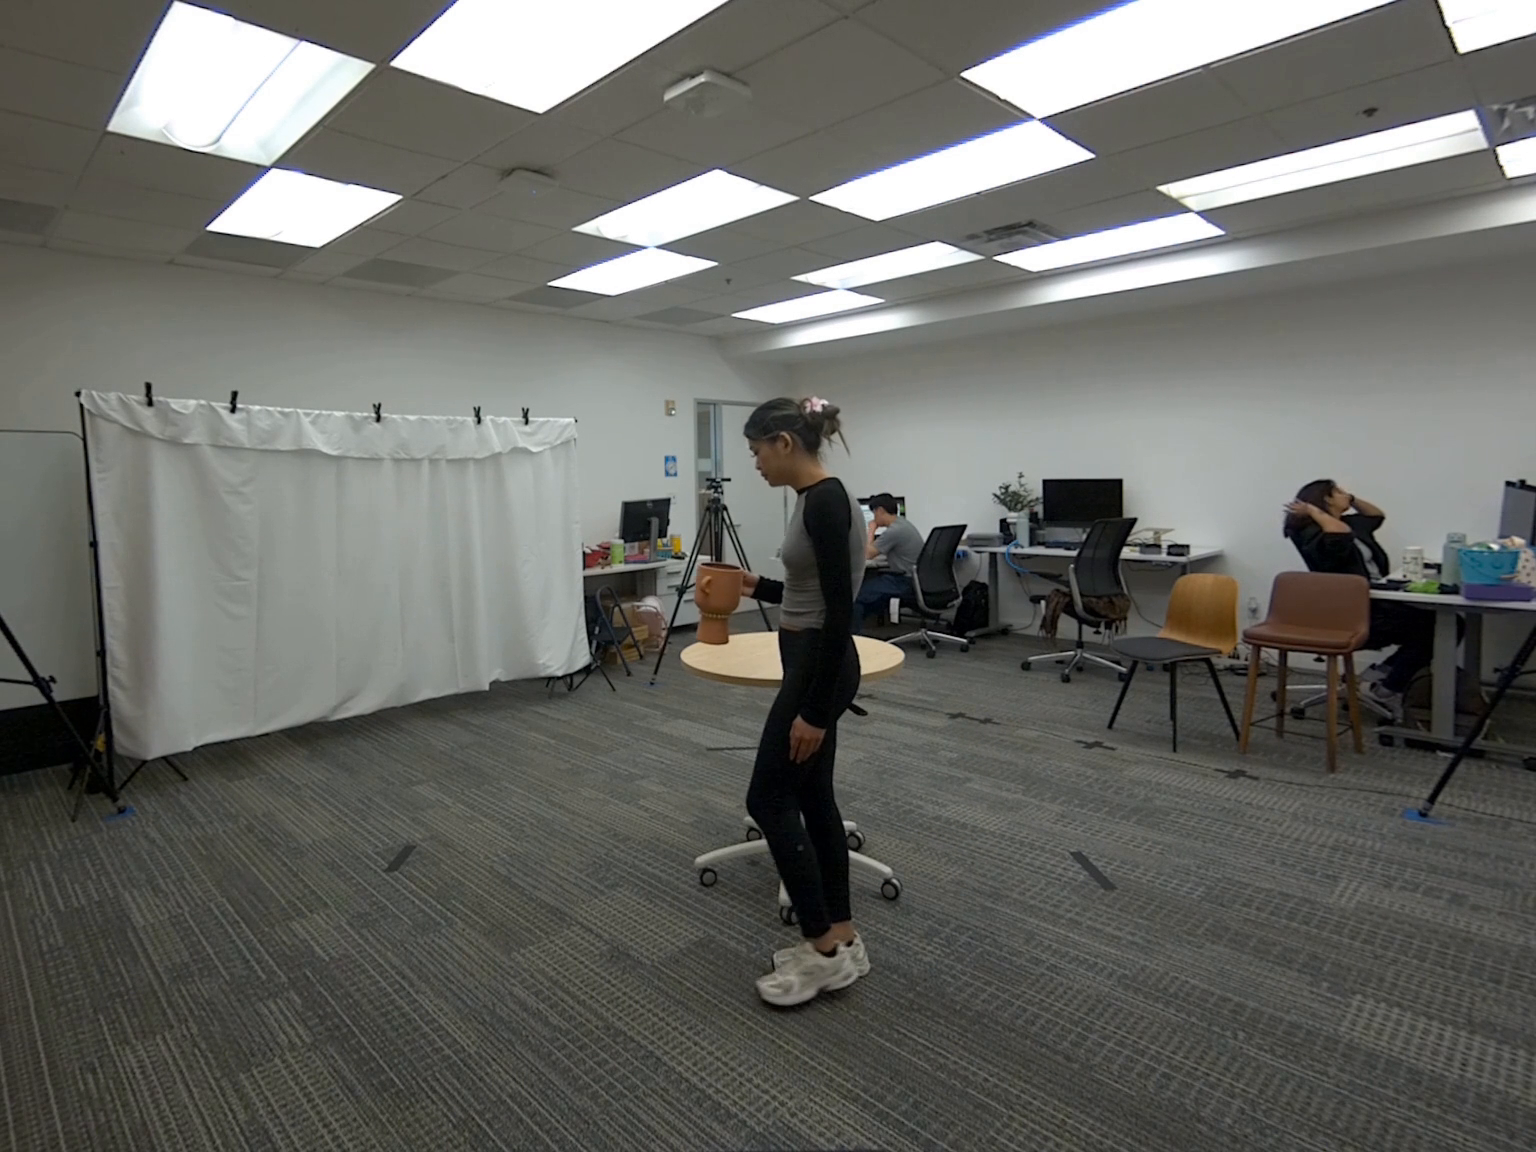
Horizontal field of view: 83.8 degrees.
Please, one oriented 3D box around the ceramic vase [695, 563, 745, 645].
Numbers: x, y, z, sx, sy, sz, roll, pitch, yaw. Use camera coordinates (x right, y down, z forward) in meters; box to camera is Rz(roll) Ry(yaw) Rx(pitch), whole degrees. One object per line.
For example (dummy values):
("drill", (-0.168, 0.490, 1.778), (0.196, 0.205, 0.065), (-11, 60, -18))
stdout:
("ceramic vase", (-0.140, 0.081, 2.453), (0.155, 0.218, 0.138), (2, 8, -26))
